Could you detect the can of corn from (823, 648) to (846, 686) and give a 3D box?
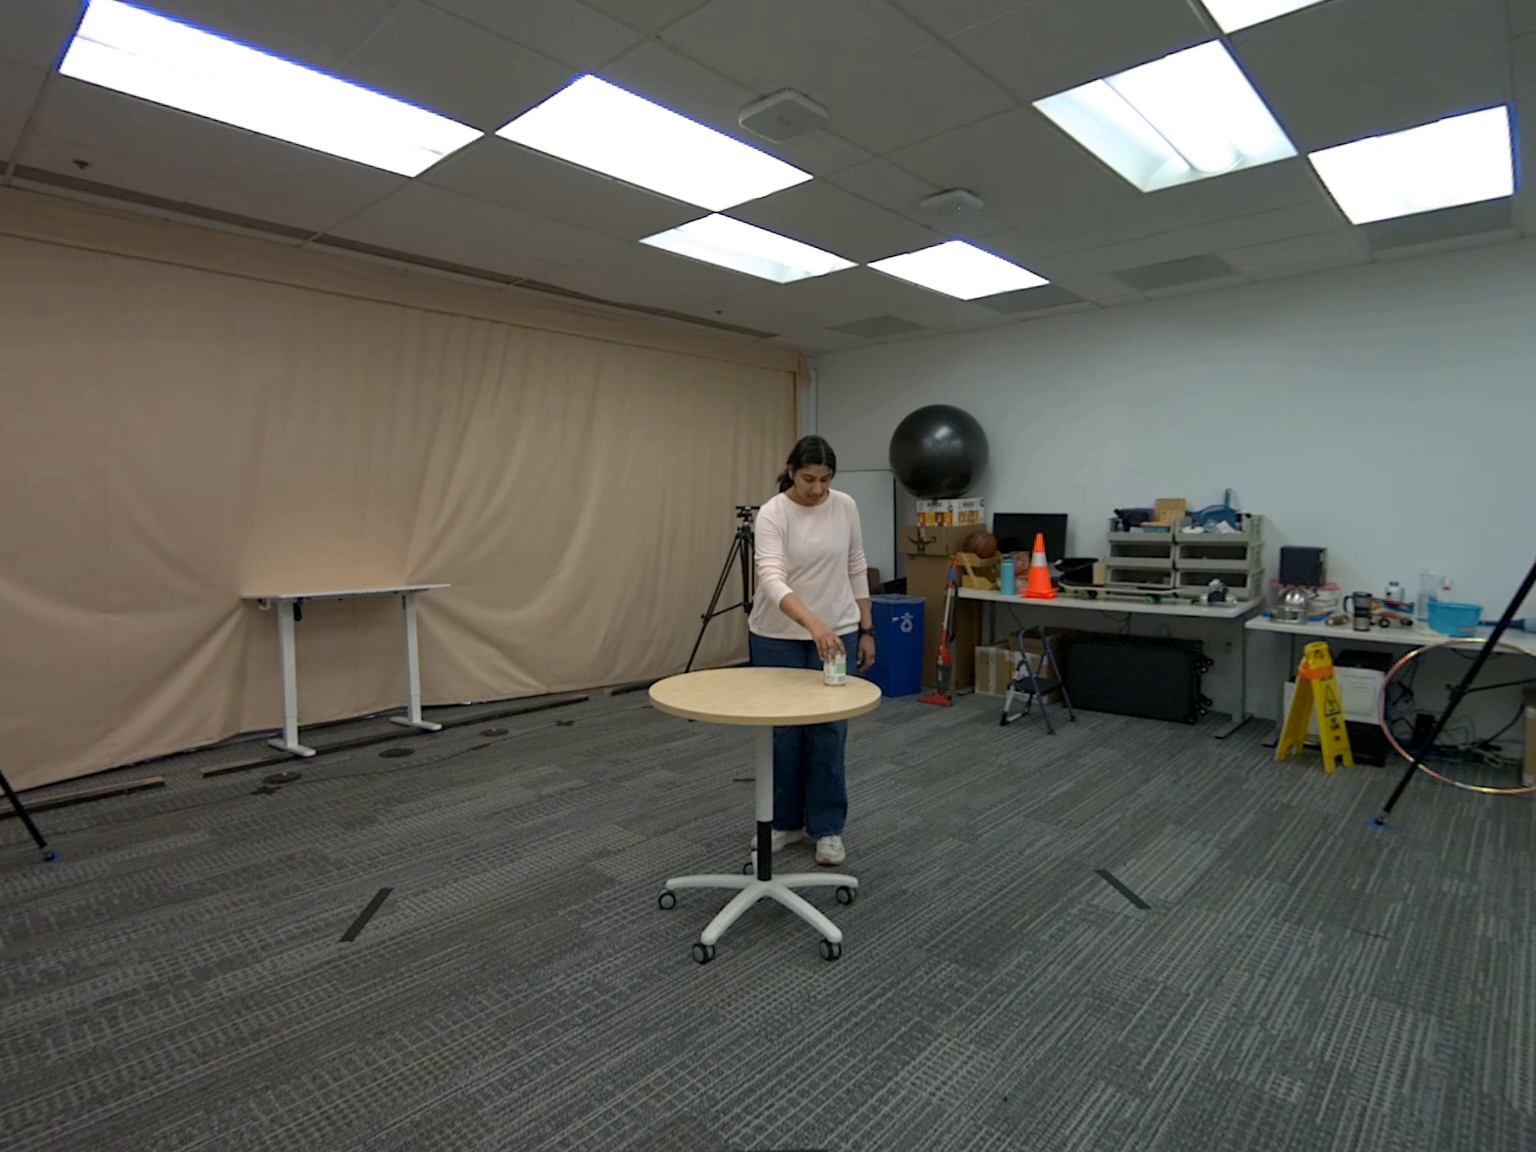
[{"bbox_3d":[0.225,0.313,2.861,0.074,0.111,0.074,2,1,-2],"label":"can of corn"}]
